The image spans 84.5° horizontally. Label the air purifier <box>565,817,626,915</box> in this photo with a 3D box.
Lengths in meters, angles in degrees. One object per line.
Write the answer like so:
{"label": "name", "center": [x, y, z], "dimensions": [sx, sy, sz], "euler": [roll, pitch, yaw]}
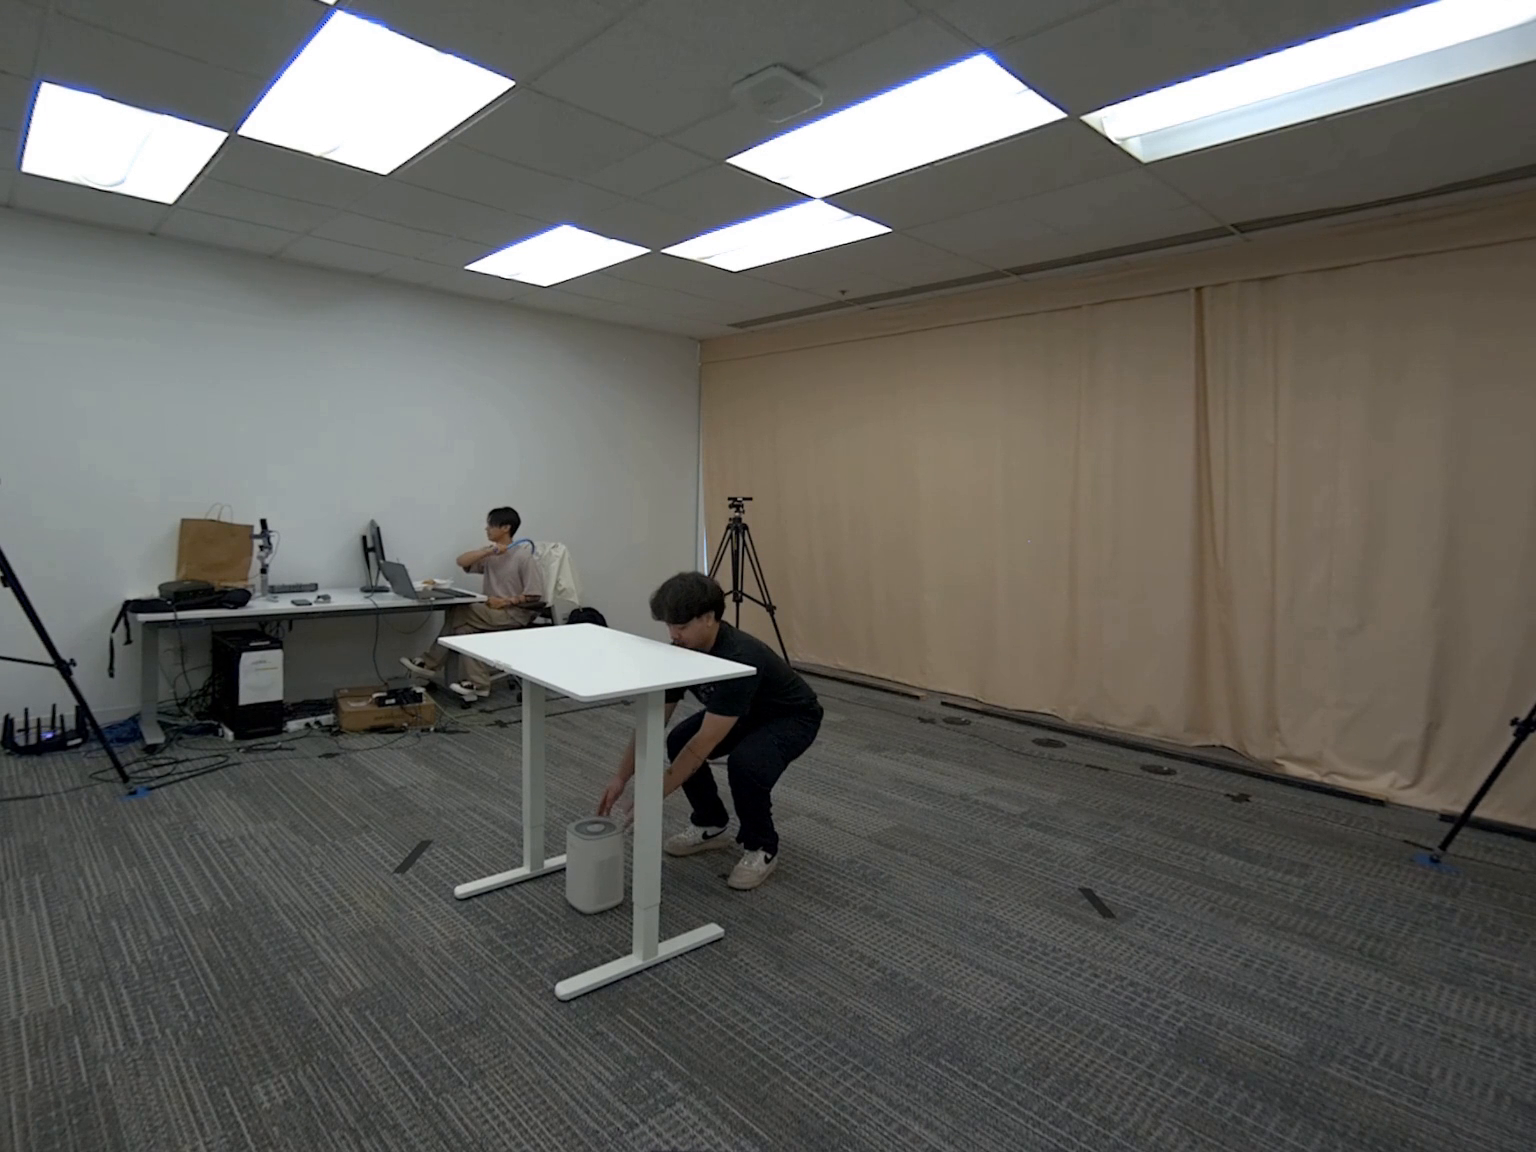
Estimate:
{"label": "air purifier", "center": [-0.589, 0.985, 2.864], "dimensions": [0.168, 0.264, 0.175], "euler": [-2, 6, -43]}
